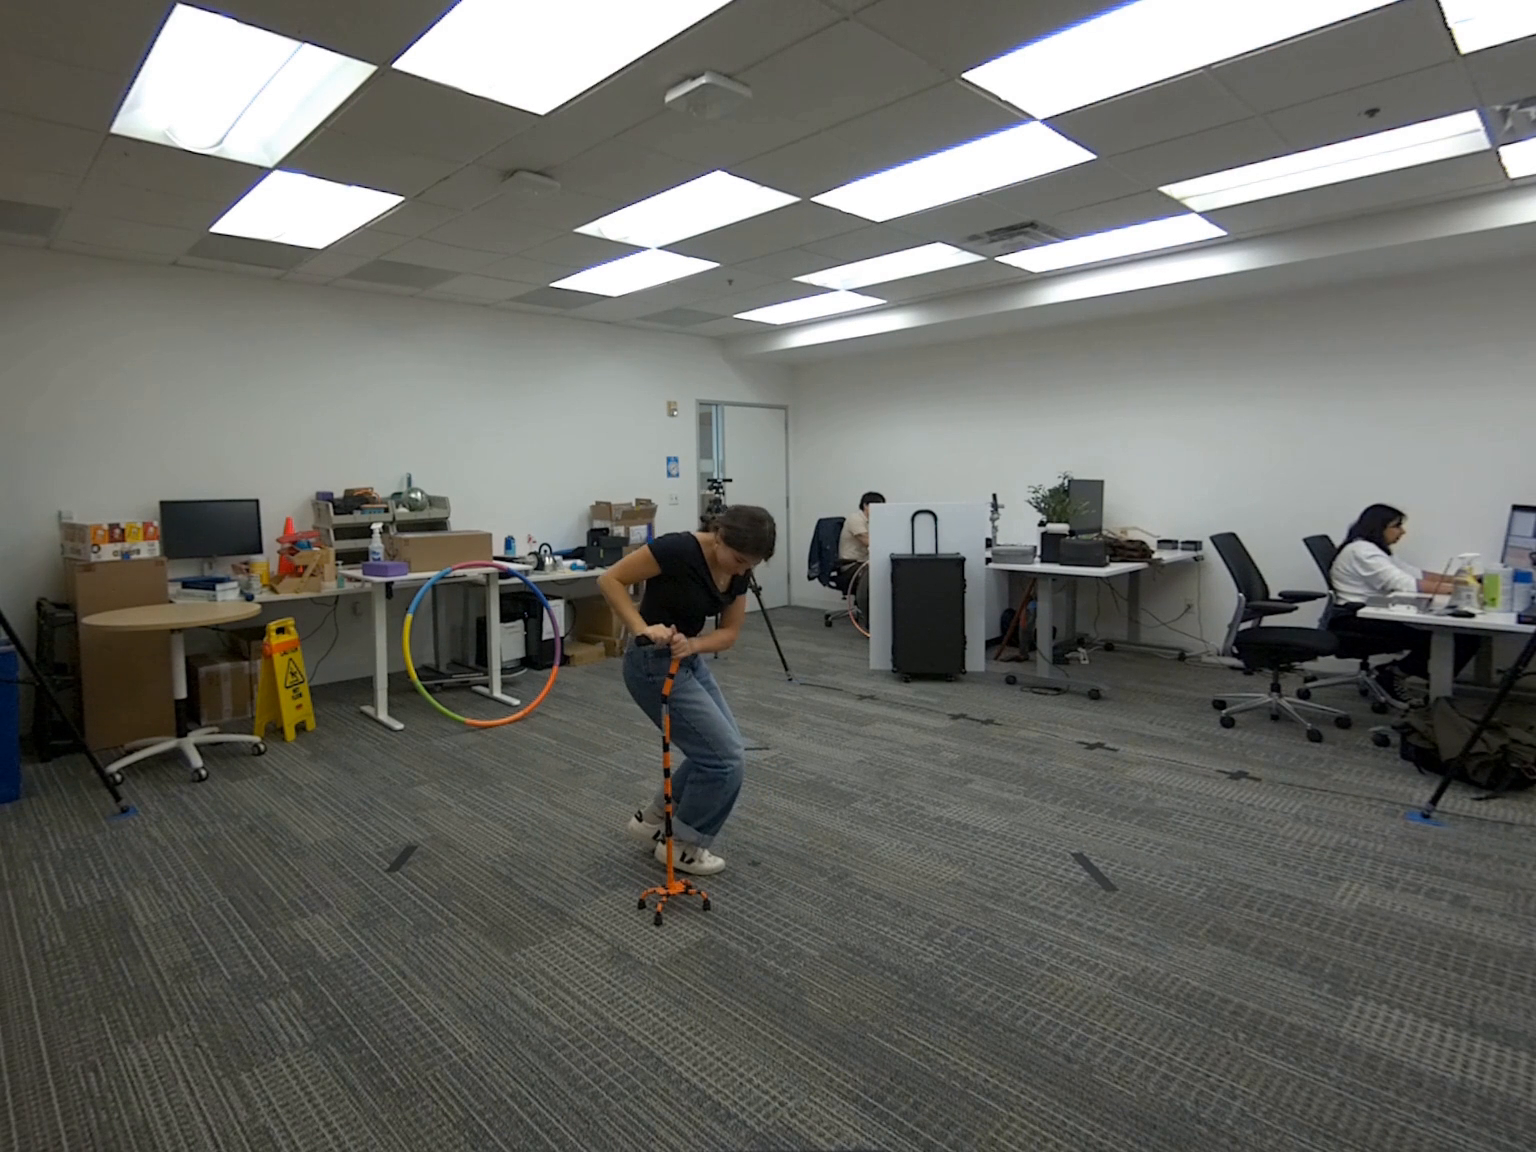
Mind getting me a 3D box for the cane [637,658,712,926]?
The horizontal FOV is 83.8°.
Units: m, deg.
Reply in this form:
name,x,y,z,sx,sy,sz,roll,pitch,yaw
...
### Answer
name,x,y,z,sx,sy,sz,roll,pitch,yaw
cane,-0.307,0.640,2.765,0.201,0.905,0.156,-2,4,-32
